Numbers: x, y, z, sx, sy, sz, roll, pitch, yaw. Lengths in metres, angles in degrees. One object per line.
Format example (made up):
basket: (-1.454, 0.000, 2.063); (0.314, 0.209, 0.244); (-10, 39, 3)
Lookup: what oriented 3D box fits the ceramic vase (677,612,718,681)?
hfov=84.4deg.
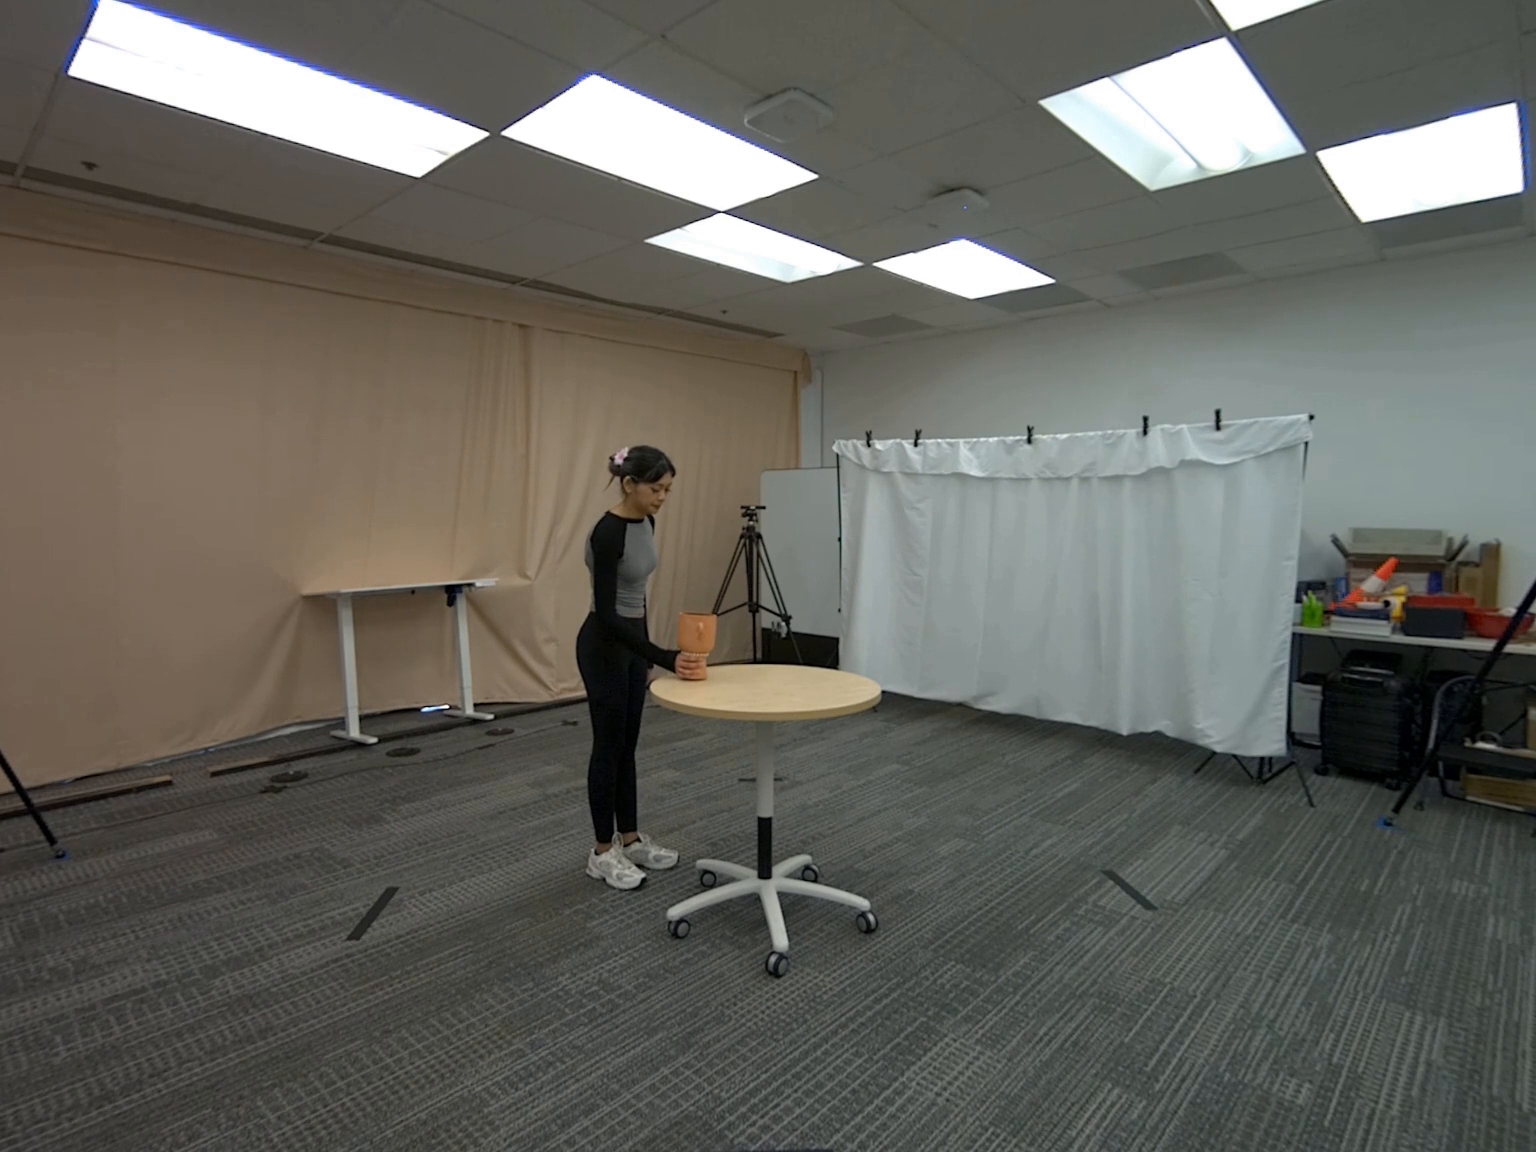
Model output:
ceramic vase: (-0.252, 0.242, 2.921); (0.138, 0.219, 0.154); (5, 2, 27)
